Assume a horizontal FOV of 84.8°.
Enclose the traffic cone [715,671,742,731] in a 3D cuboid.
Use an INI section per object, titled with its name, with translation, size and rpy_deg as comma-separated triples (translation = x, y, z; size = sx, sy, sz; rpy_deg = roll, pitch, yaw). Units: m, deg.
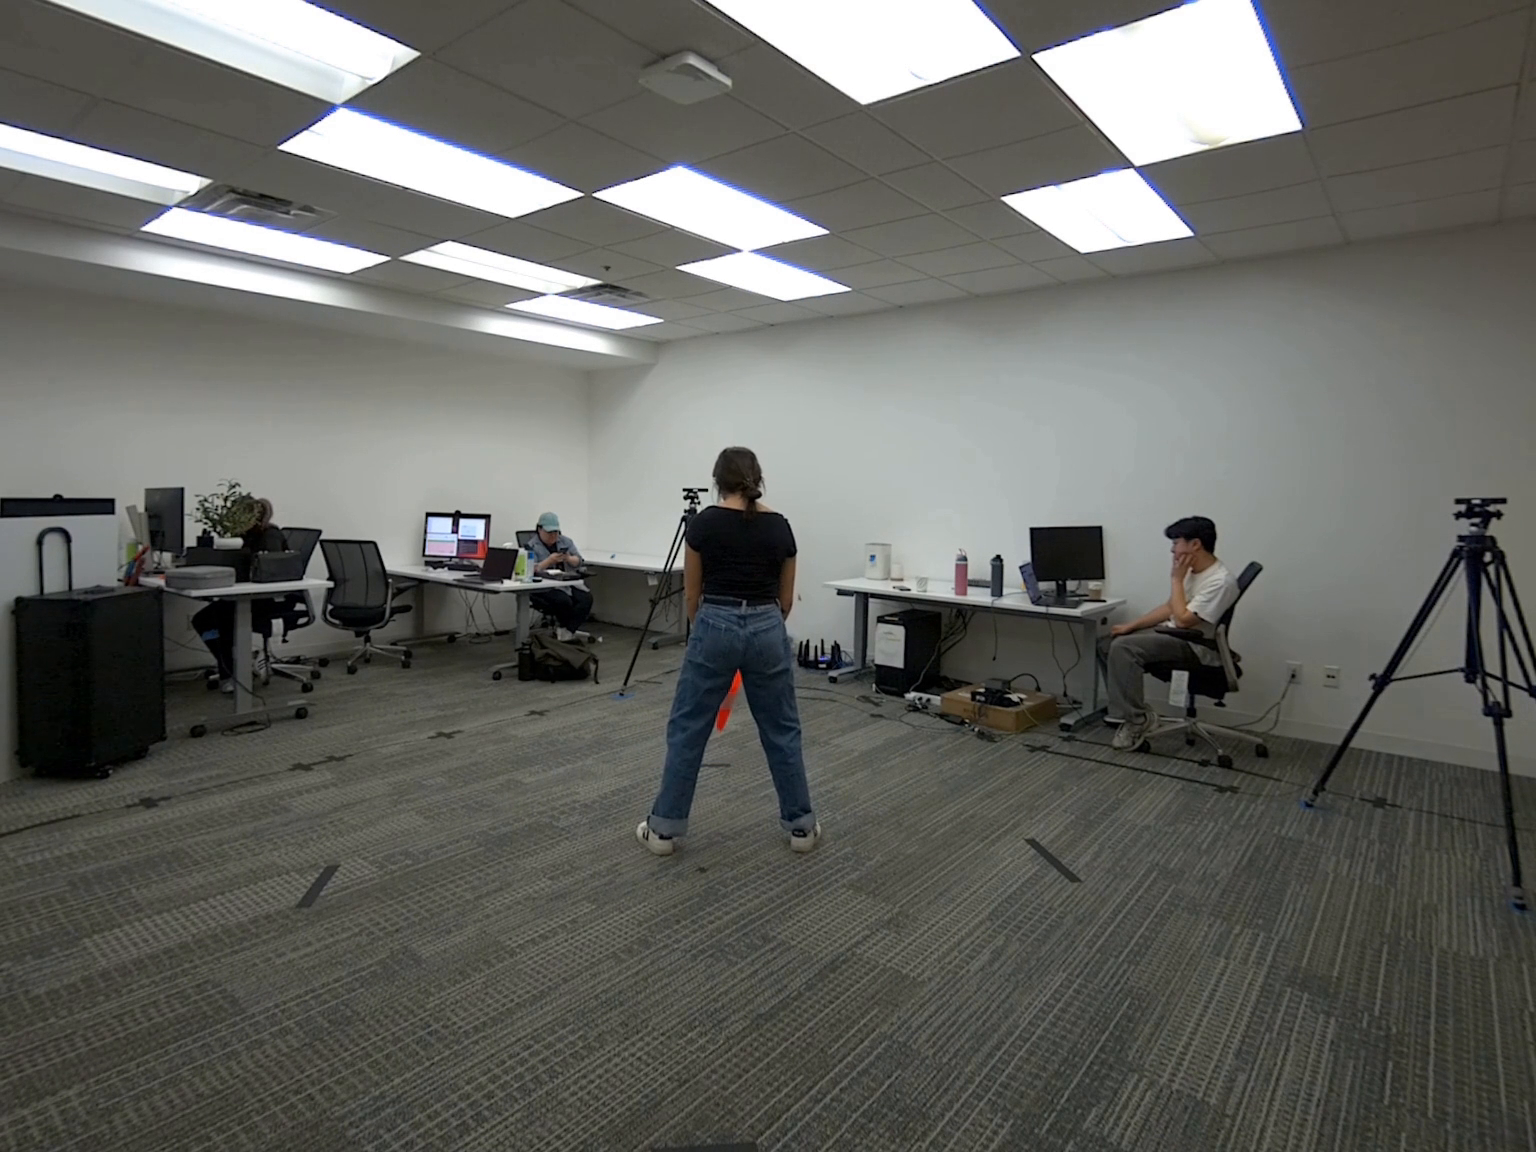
[traffic cone]
translation = -0.174, 0.472, 3.565
size = 0.203, 0.377, 0.208
rpy_deg = 11, 26, -1
